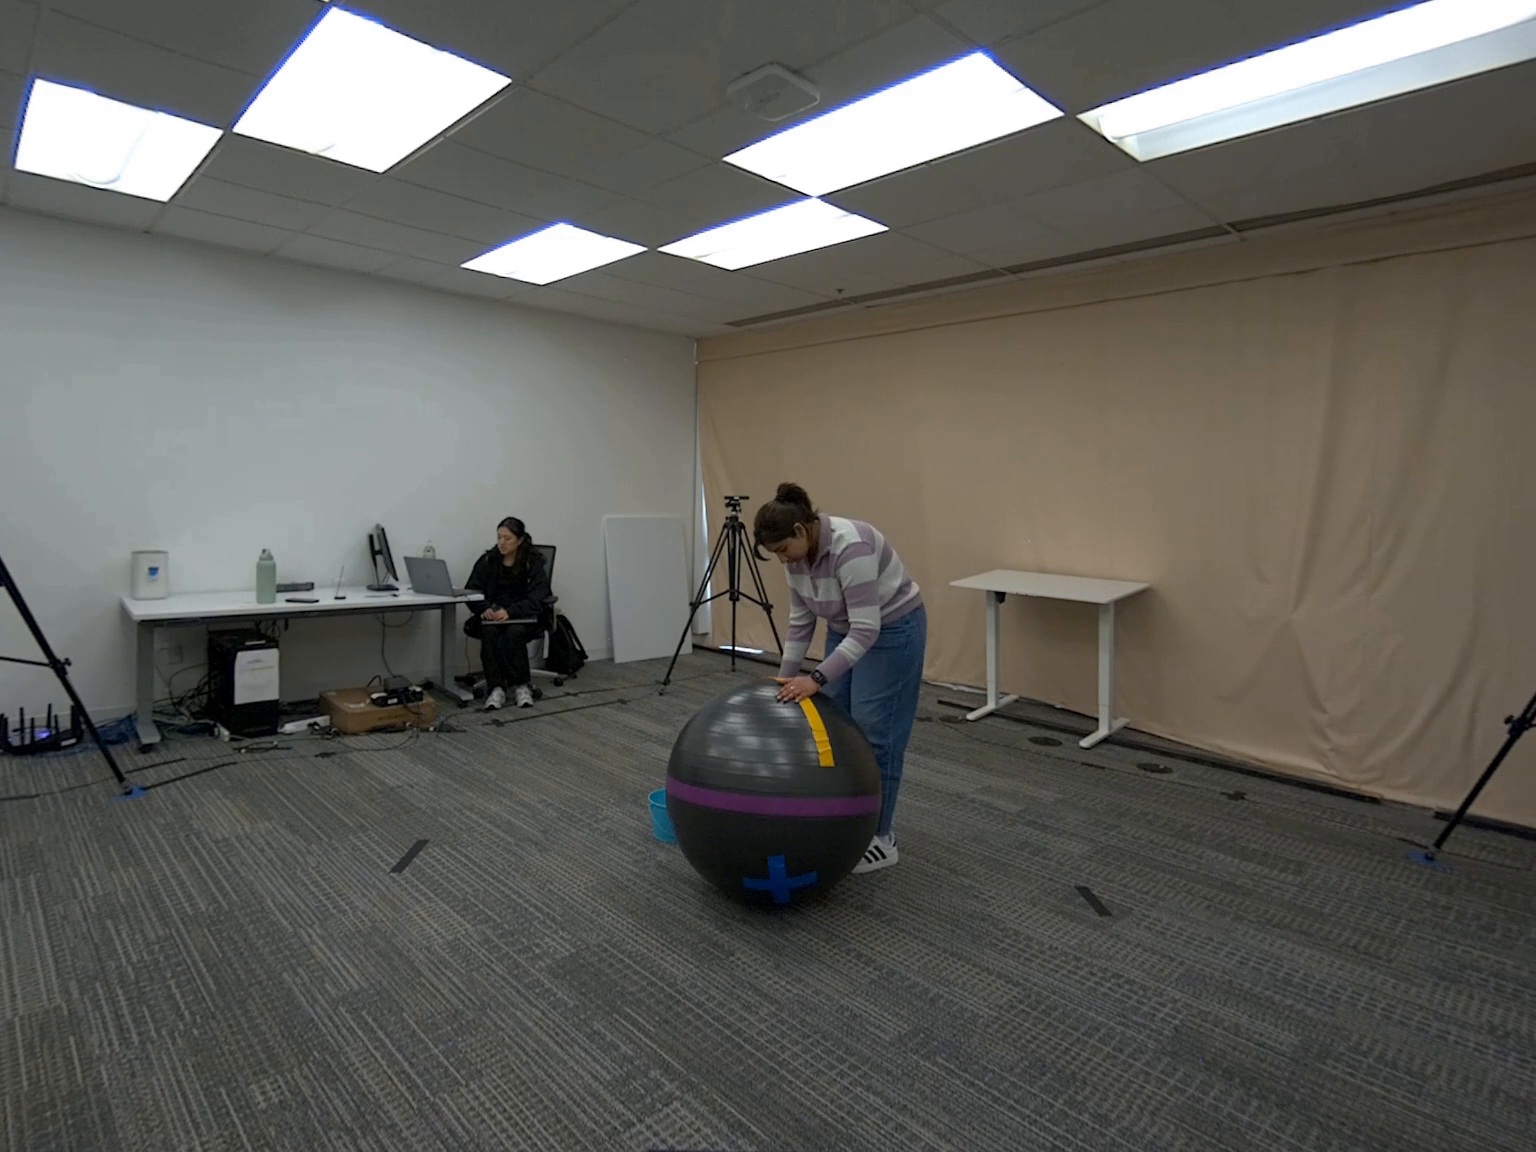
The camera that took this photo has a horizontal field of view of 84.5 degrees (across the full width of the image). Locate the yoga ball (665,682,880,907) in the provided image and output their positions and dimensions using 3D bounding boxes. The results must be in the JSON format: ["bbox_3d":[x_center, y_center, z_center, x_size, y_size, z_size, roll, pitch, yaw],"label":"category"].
[{"bbox_3d":[0.012,0.754,2.956,0.757,0.756,0.761,1,4,-1],"label":"yoga ball"}]
